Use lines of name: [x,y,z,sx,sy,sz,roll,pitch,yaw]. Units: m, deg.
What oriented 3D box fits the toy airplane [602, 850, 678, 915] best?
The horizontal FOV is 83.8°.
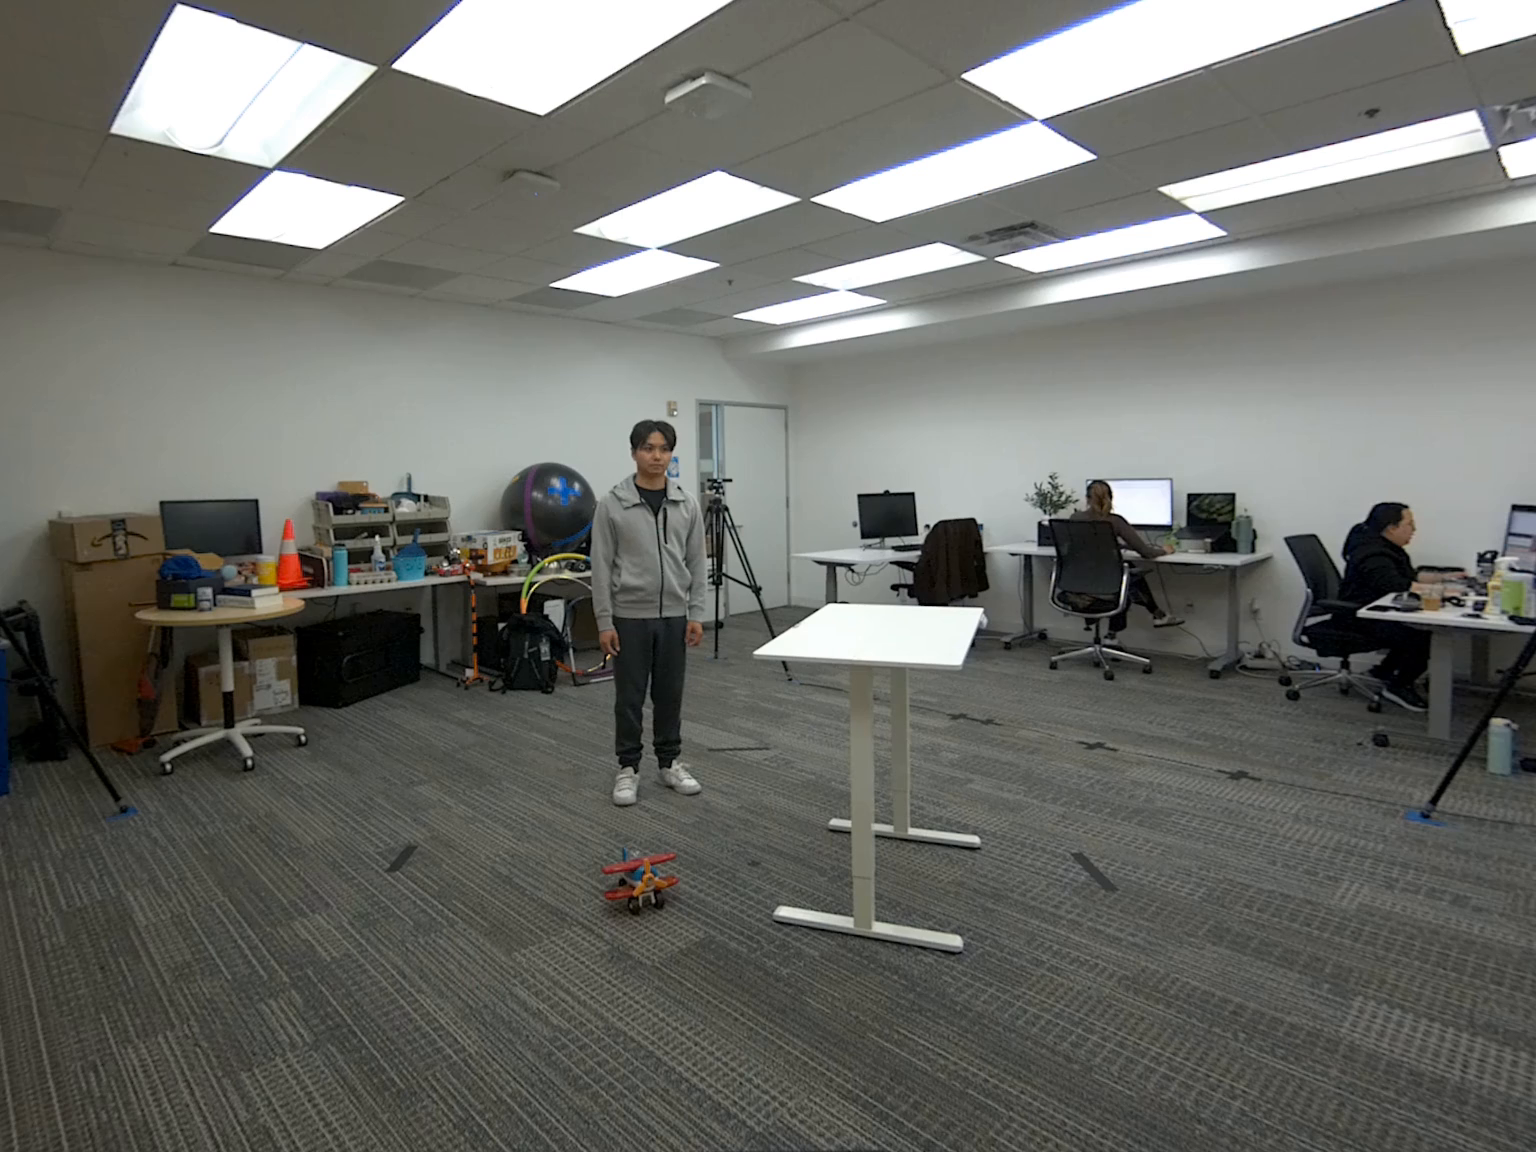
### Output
toy airplane: [-0.446,1.011,2.837,0.267,0.155,0.245,5,9,34]
